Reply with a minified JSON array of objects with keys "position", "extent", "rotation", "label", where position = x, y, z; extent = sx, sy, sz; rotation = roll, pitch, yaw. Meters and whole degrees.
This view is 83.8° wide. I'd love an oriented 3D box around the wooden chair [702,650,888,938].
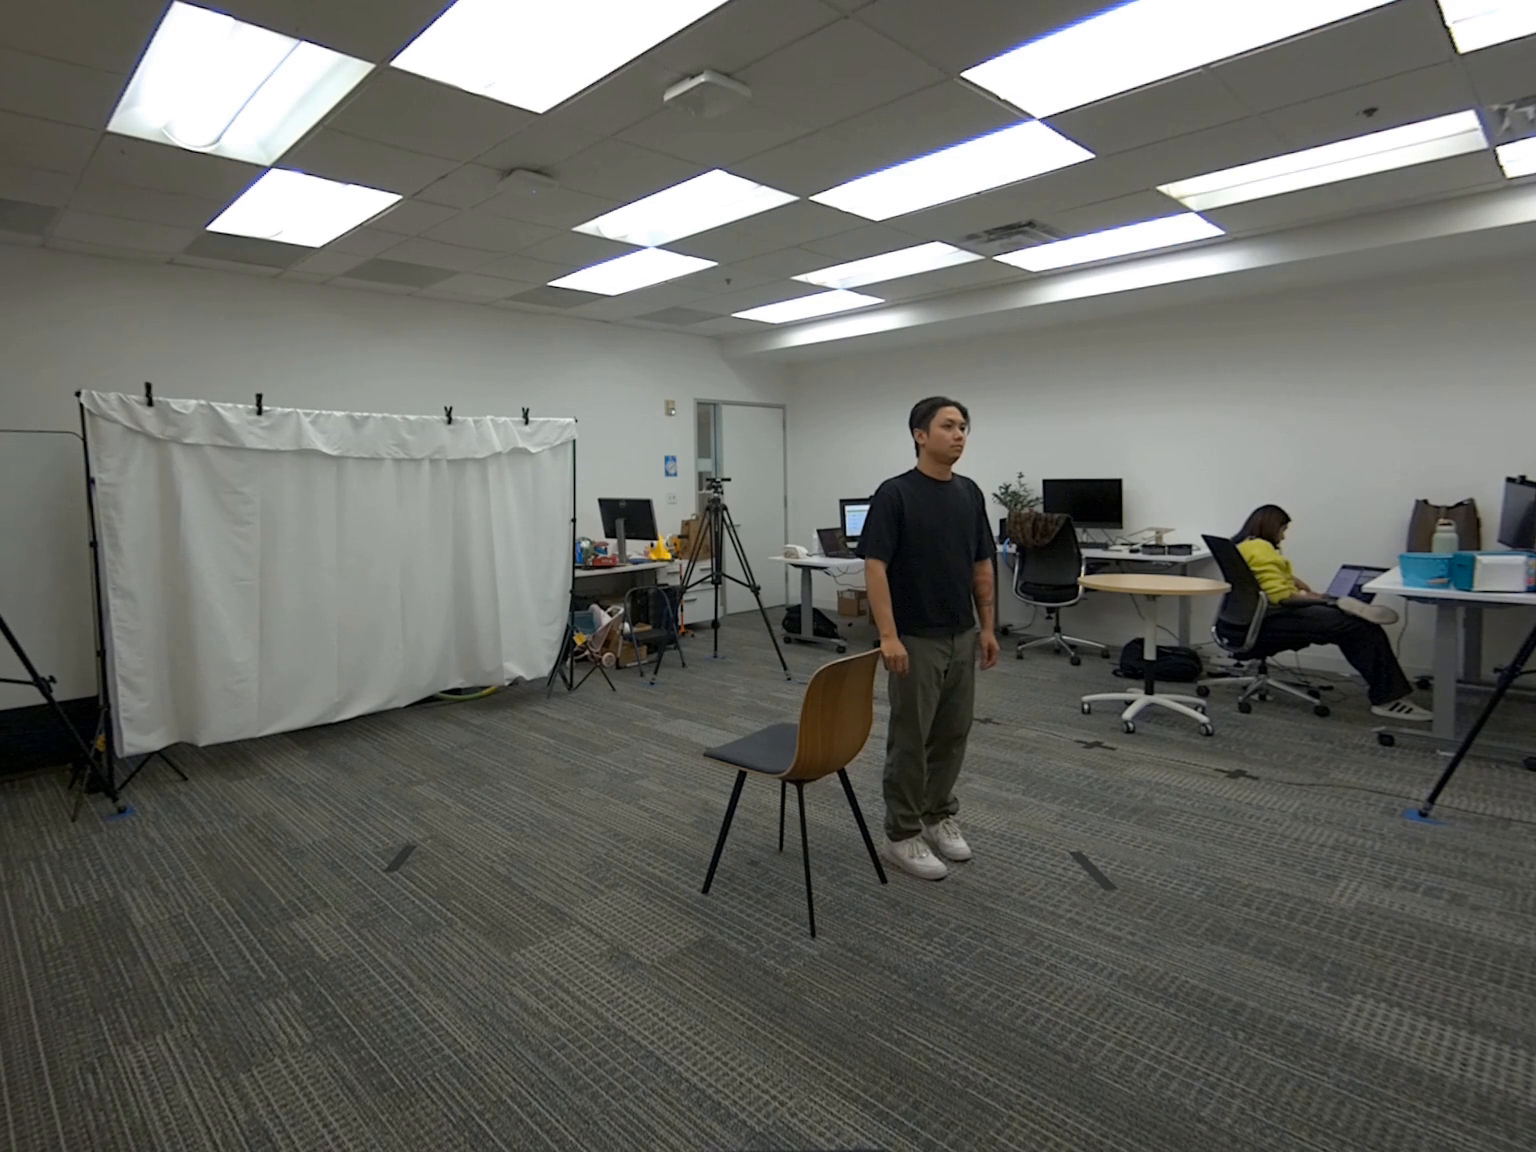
[{"position":[0.080,0.639,2.874],"extent":[0.540,0.872,0.466],"rotation":[8,9,38],"label":"wooden chair"}]
